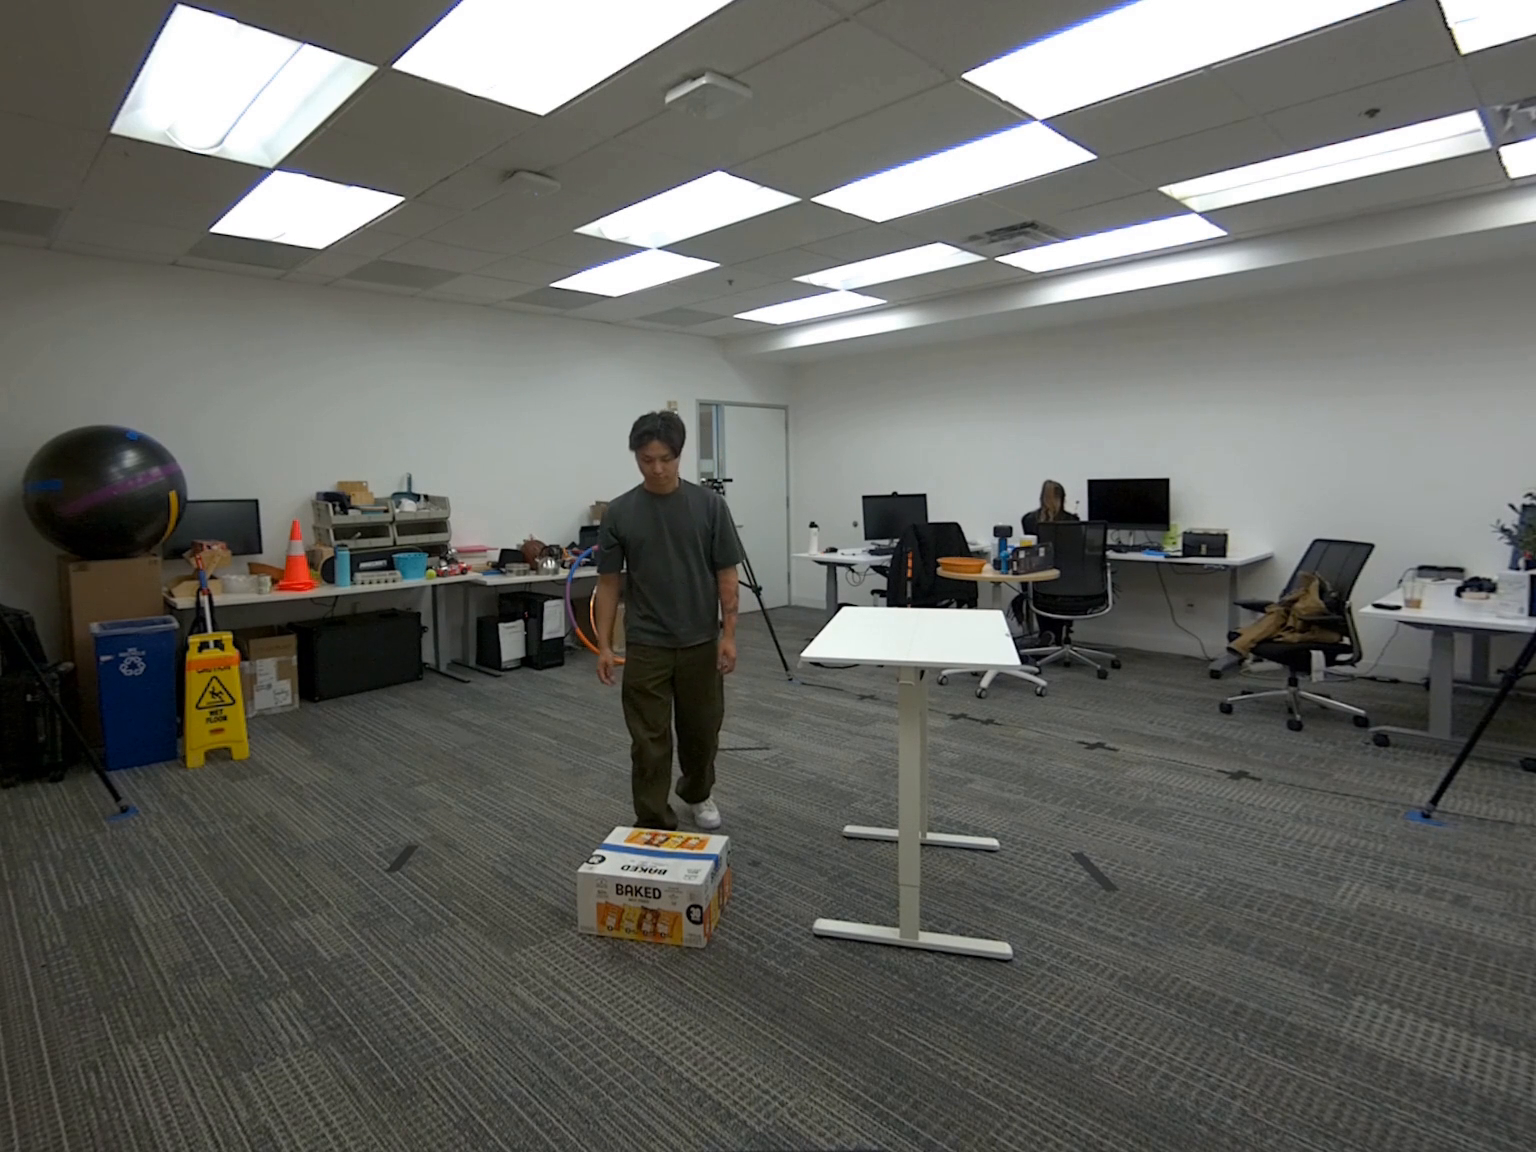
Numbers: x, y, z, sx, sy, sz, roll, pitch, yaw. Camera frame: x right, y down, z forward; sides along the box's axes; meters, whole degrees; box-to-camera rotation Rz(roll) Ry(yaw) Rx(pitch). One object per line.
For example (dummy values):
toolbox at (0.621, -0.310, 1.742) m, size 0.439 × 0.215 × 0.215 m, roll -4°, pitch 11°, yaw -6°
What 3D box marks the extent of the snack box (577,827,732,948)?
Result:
snack box at (-0.357, 0.993, 2.748) m, size 0.410 × 0.205 × 0.337 m, roll 0°, pitch 6°, yaw 13°
